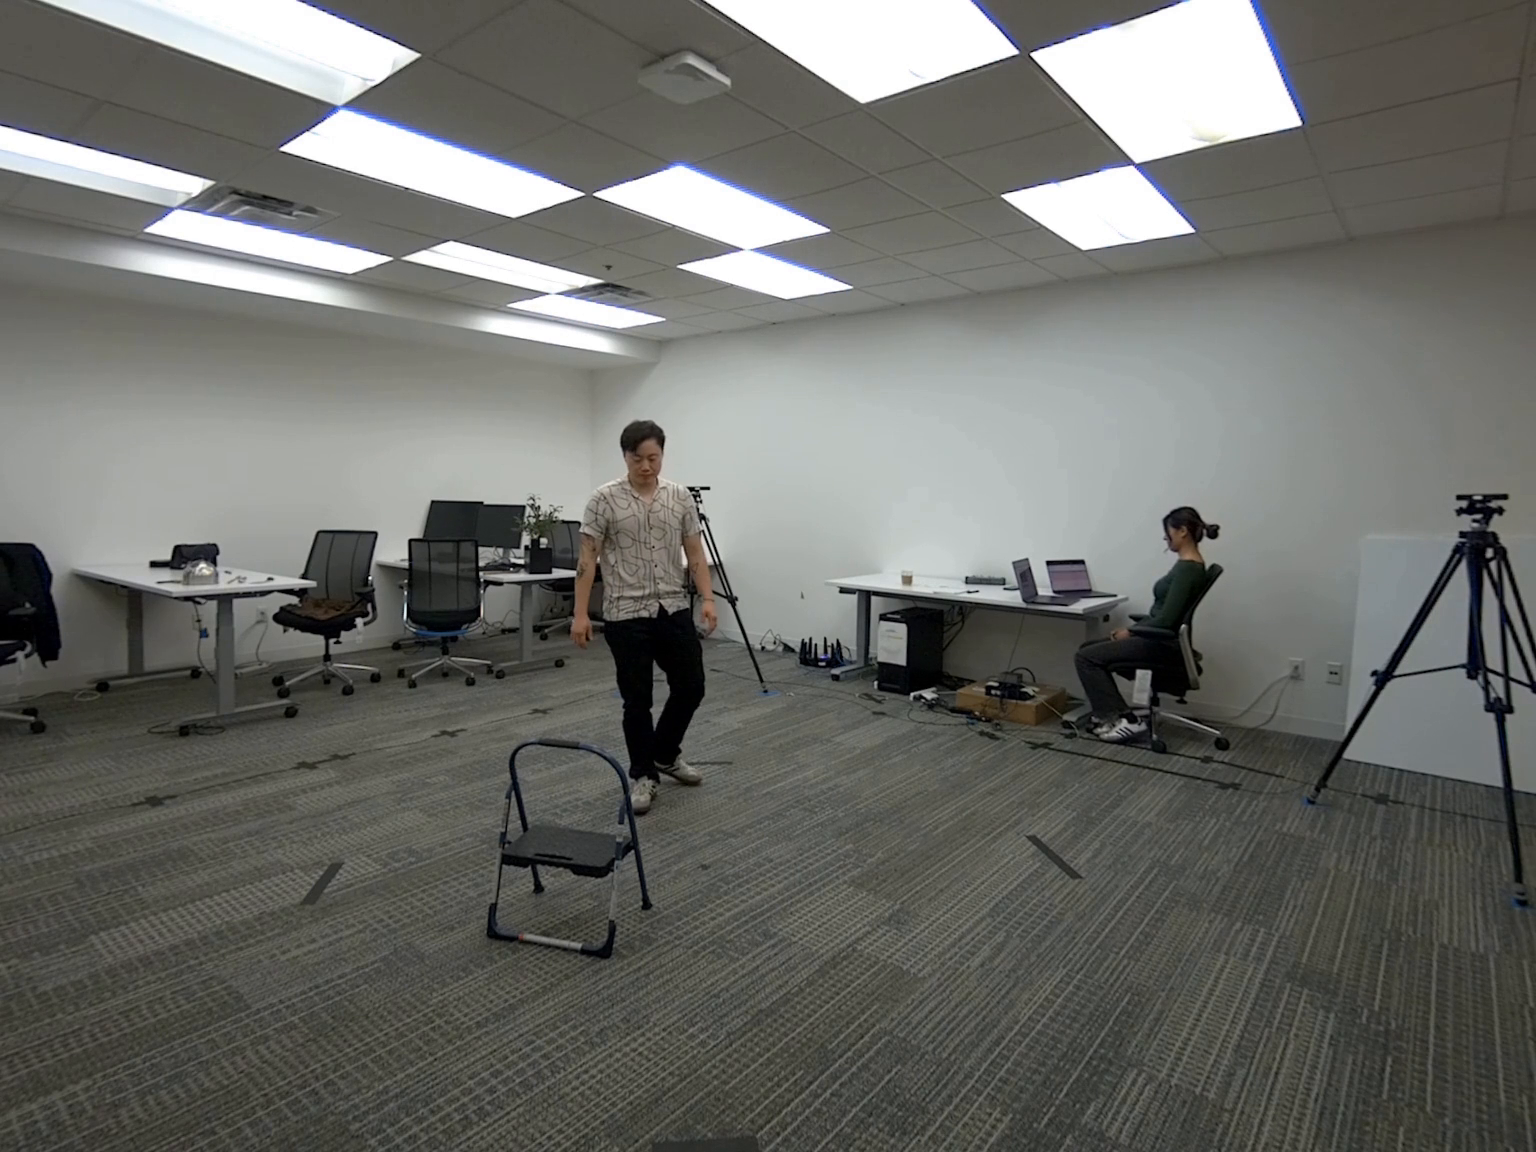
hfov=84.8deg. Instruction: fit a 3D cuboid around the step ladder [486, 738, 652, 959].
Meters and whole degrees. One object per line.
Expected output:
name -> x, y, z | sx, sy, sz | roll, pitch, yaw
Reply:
step ladder -> -0.637, 0.795, 2.698 | 0.438, 0.604, 0.345 | 1, 3, 15
